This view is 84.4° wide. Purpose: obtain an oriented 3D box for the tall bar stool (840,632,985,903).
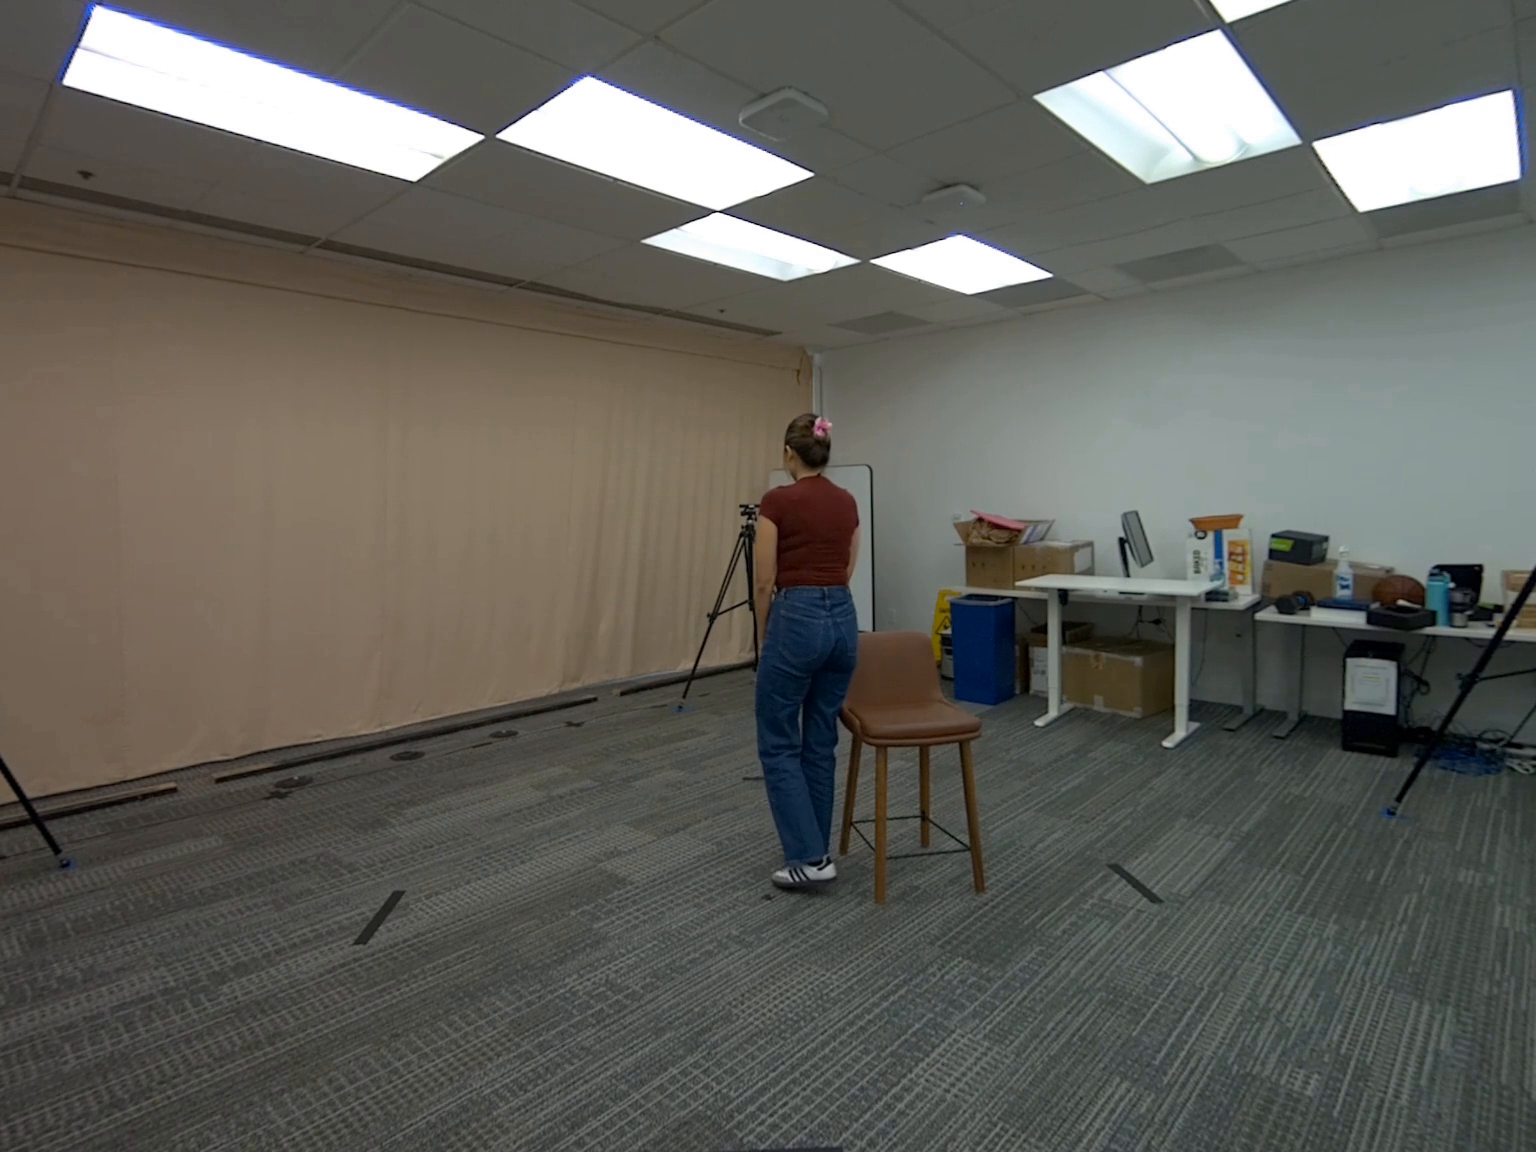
[{"bbox_3d":[0.522,0.683,3.159,0.450,0.889,0.474,-1,1,-13],"label":"tall bar stool"}]
